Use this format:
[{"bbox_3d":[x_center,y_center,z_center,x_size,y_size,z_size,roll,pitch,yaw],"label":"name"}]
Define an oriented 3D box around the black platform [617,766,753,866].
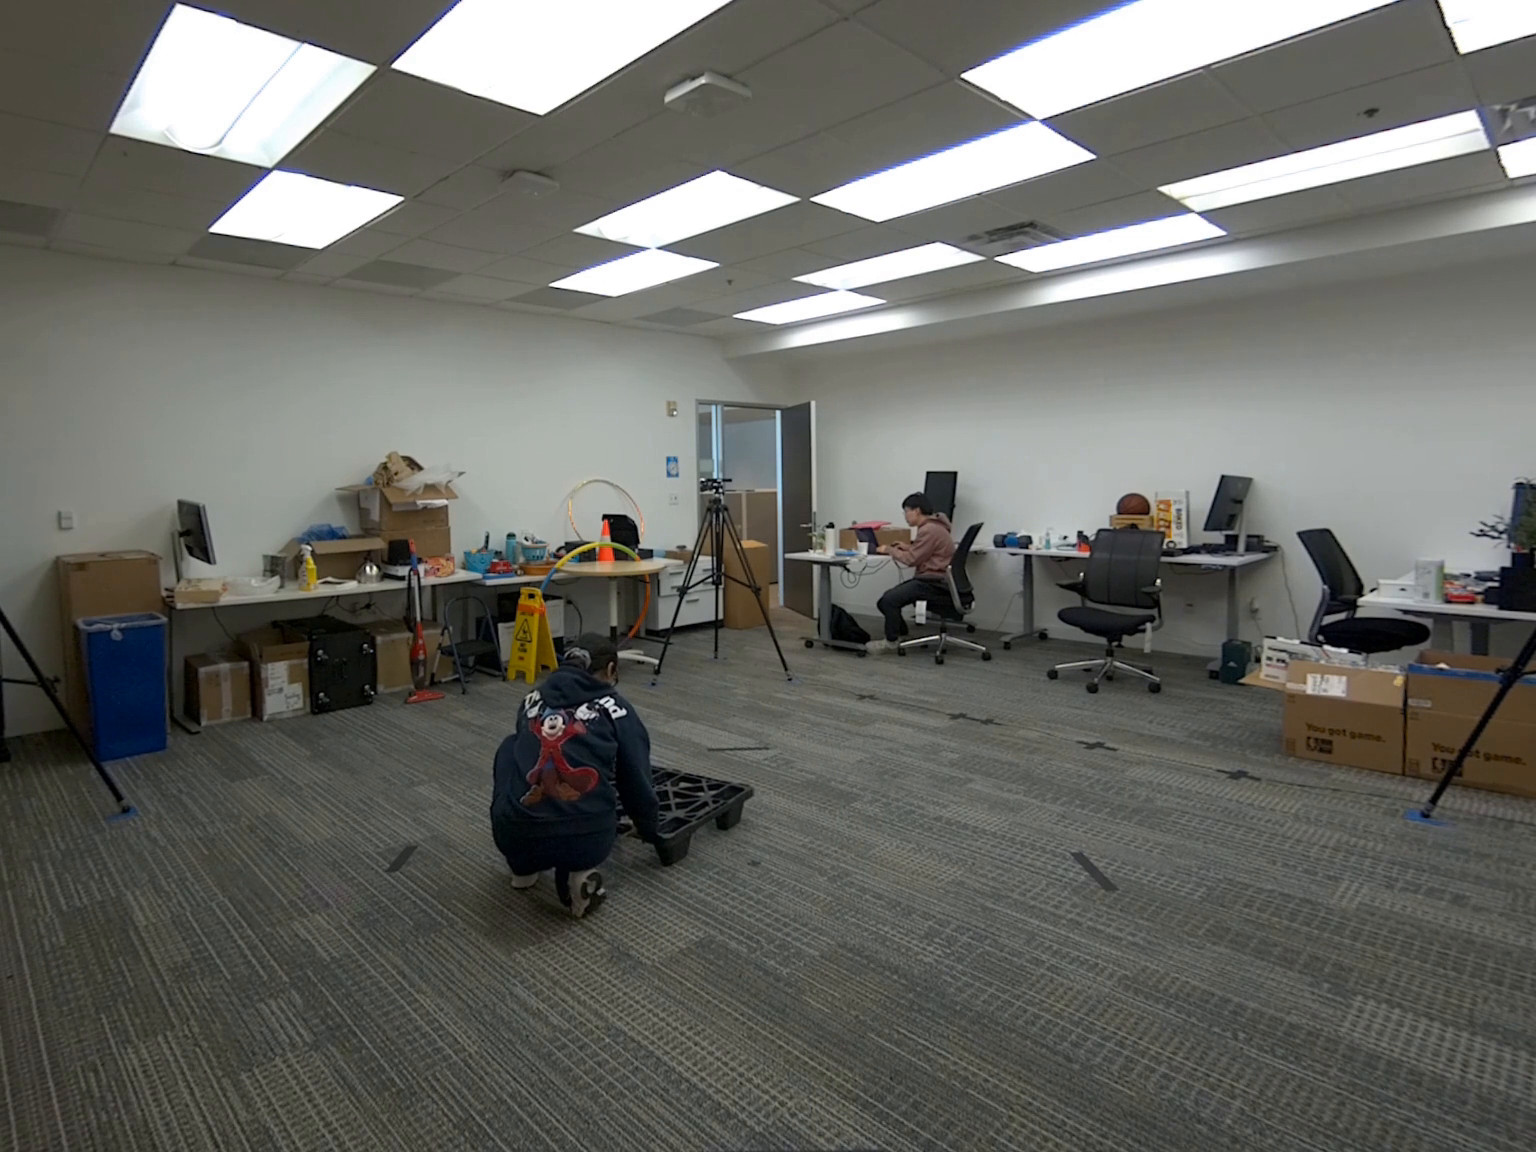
[{"bbox_3d":[-0.538,0.941,3.480,0.828,0.143,0.591,3,7,32],"label":"black platform"}]
